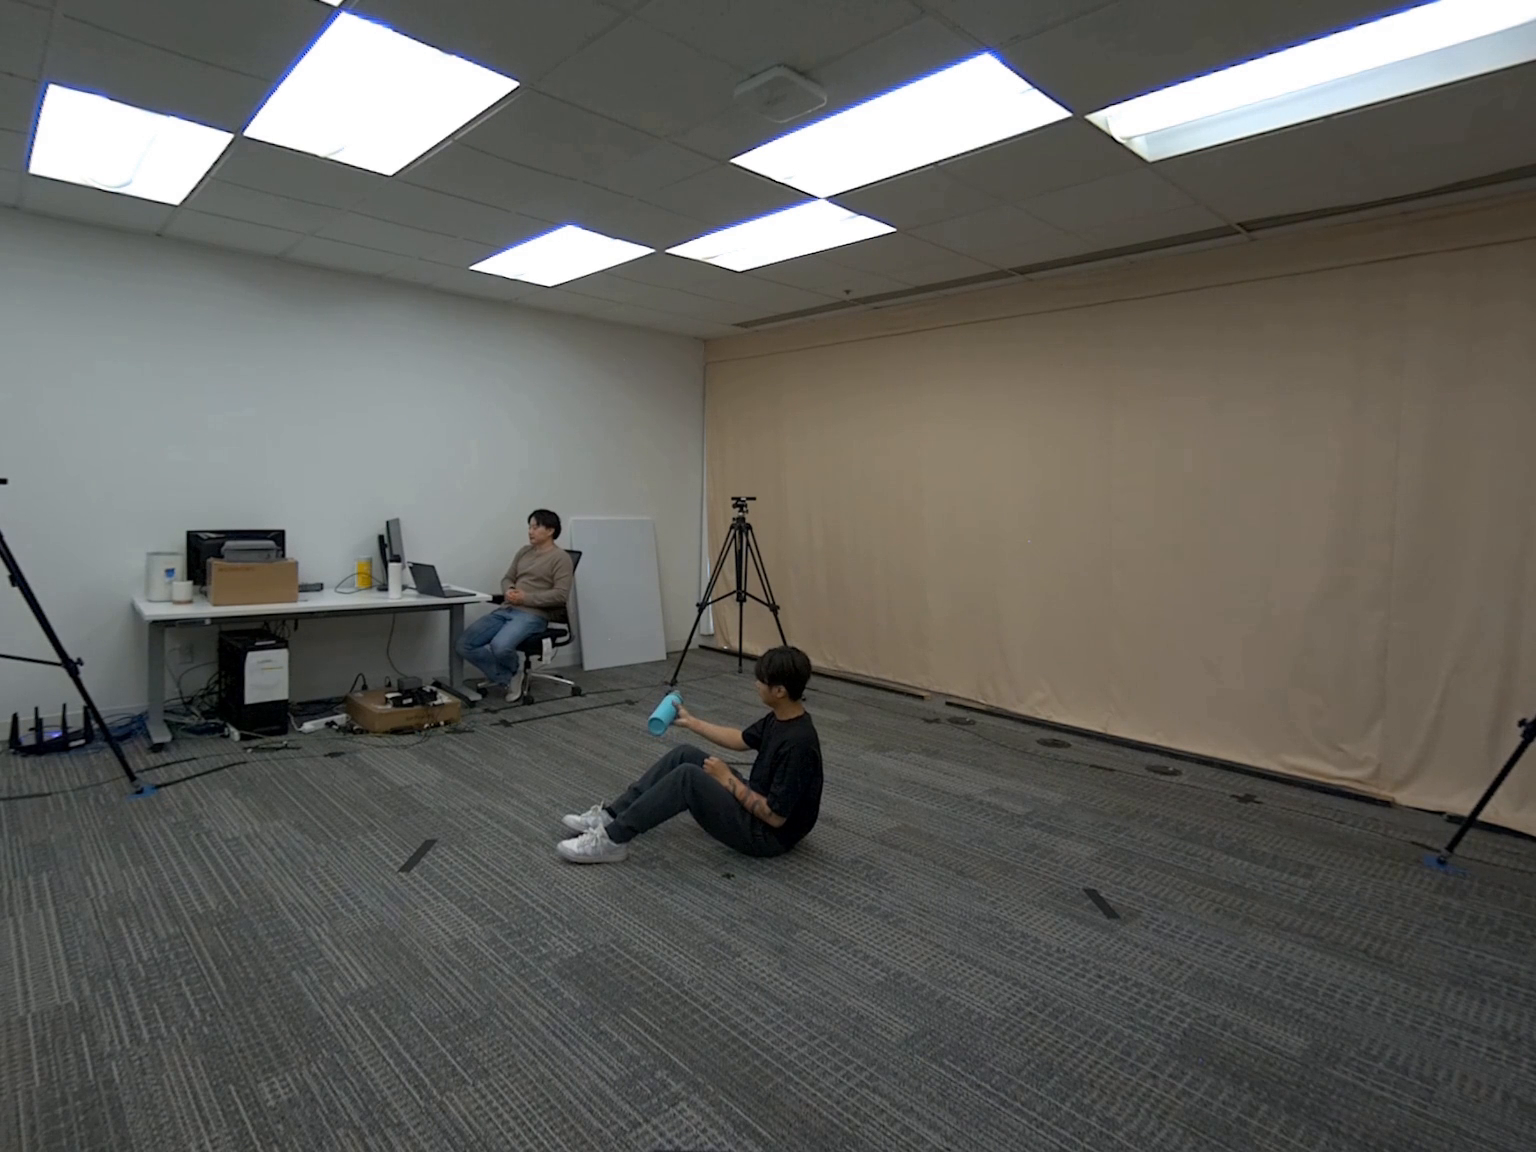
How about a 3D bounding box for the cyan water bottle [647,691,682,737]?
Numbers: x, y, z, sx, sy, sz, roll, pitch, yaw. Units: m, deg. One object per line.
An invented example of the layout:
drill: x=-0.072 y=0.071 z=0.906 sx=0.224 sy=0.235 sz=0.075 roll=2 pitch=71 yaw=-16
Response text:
cyan water bottle: x=-0.457 y=0.600 z=3.761 sx=0.093 sy=0.091 sz=0.284 roll=2 pitch=18 yaw=13
